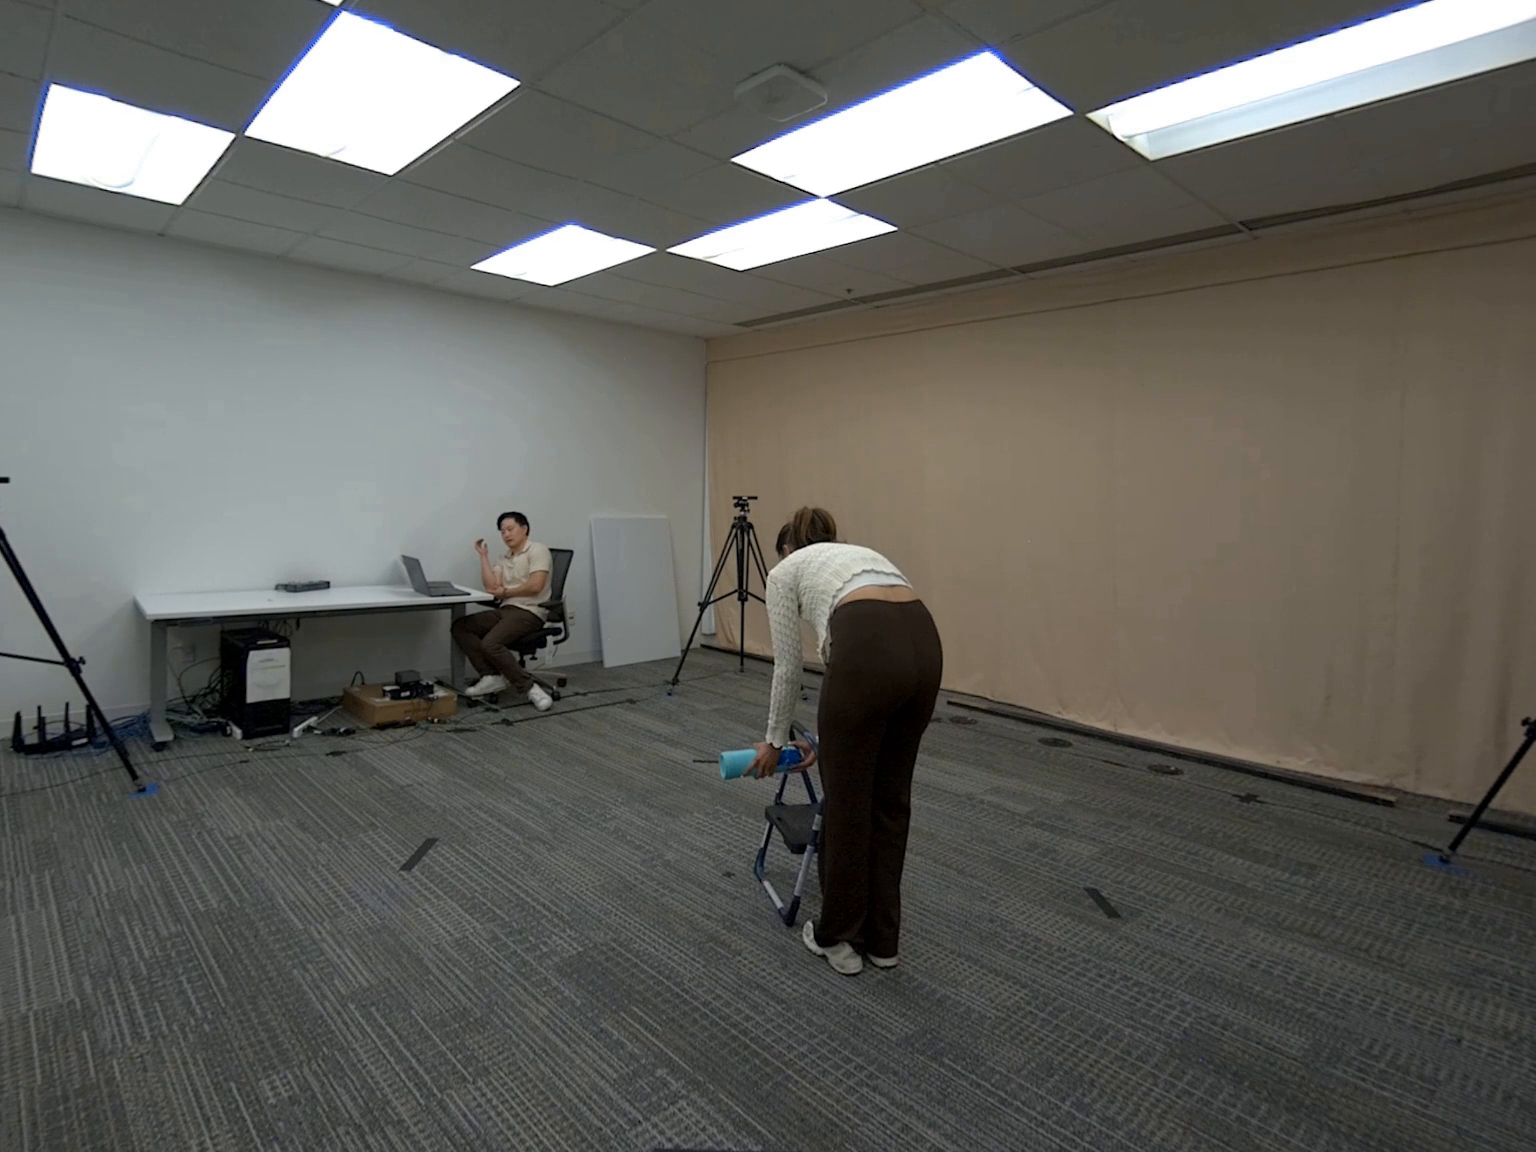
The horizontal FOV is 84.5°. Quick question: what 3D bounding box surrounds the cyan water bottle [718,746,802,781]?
[{"bbox_3d":[-0.026,0.622,2.841,0.280,0.092,0.093,-3,5,-13],"label":"cyan water bottle"}]
